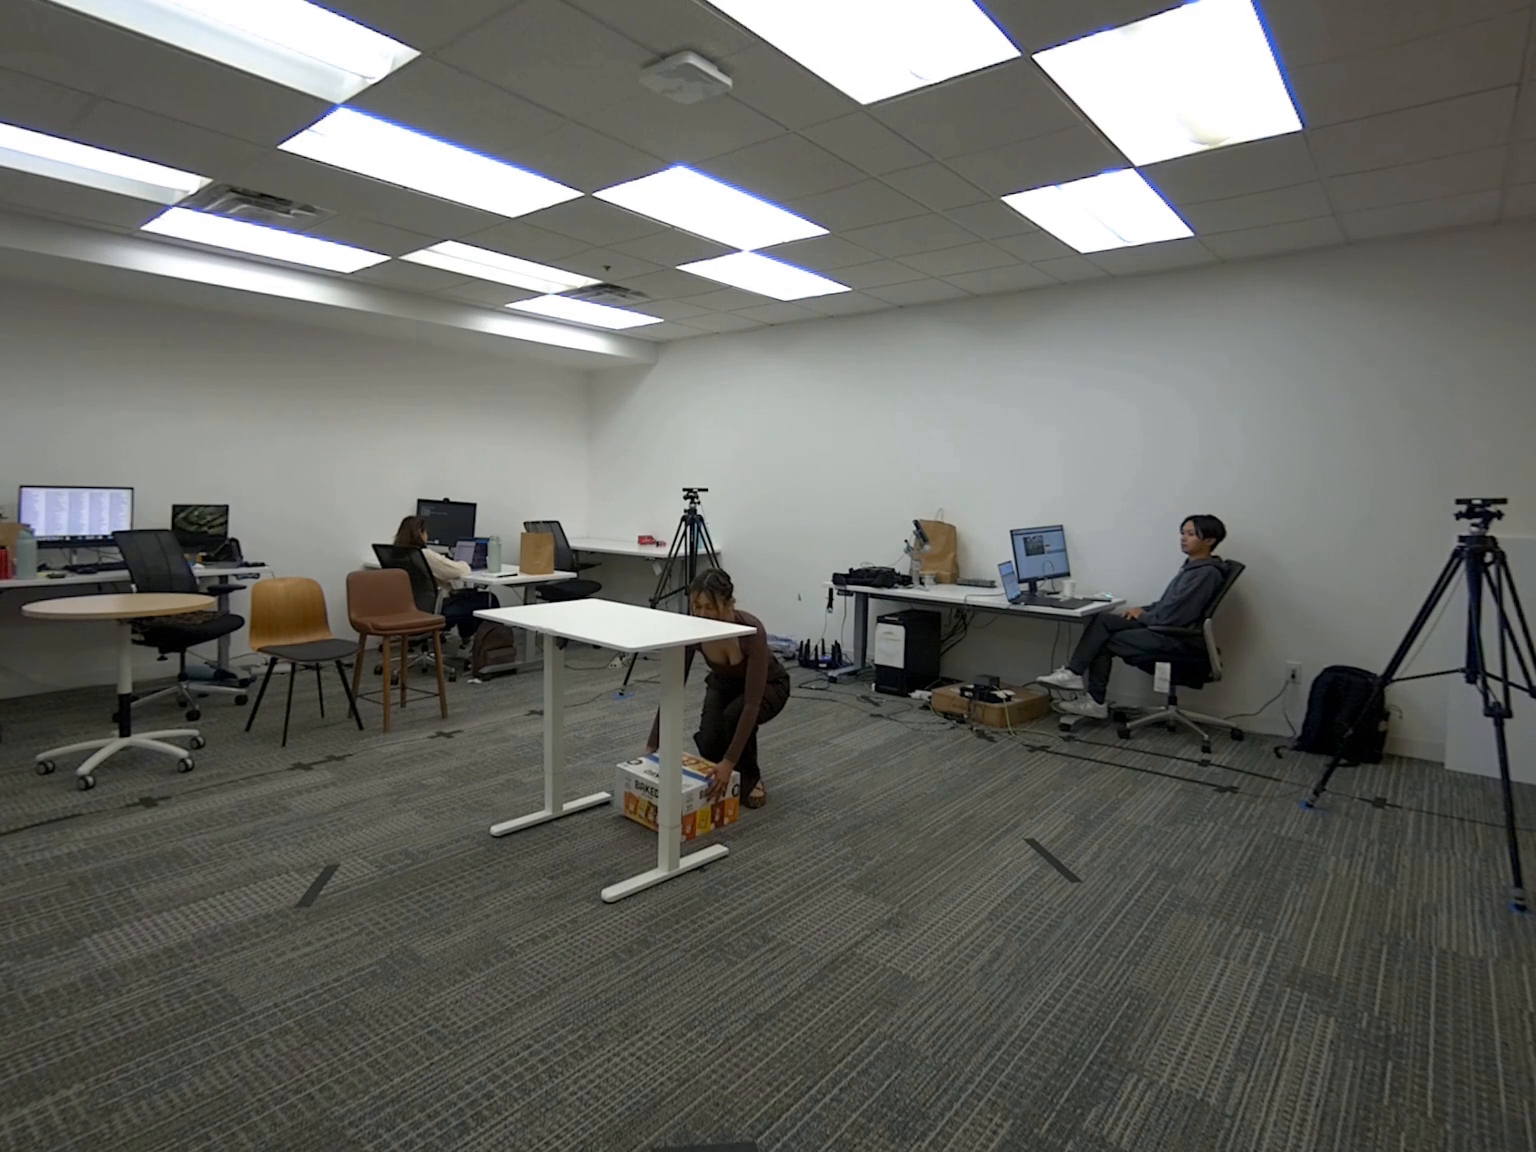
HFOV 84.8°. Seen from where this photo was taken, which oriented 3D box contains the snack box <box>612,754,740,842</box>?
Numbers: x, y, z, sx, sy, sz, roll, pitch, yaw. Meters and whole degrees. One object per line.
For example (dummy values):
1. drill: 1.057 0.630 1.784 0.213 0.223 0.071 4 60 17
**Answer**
1. snack box: -0.394 0.907 3.588 0.420 0.204 0.330 9 10 40
